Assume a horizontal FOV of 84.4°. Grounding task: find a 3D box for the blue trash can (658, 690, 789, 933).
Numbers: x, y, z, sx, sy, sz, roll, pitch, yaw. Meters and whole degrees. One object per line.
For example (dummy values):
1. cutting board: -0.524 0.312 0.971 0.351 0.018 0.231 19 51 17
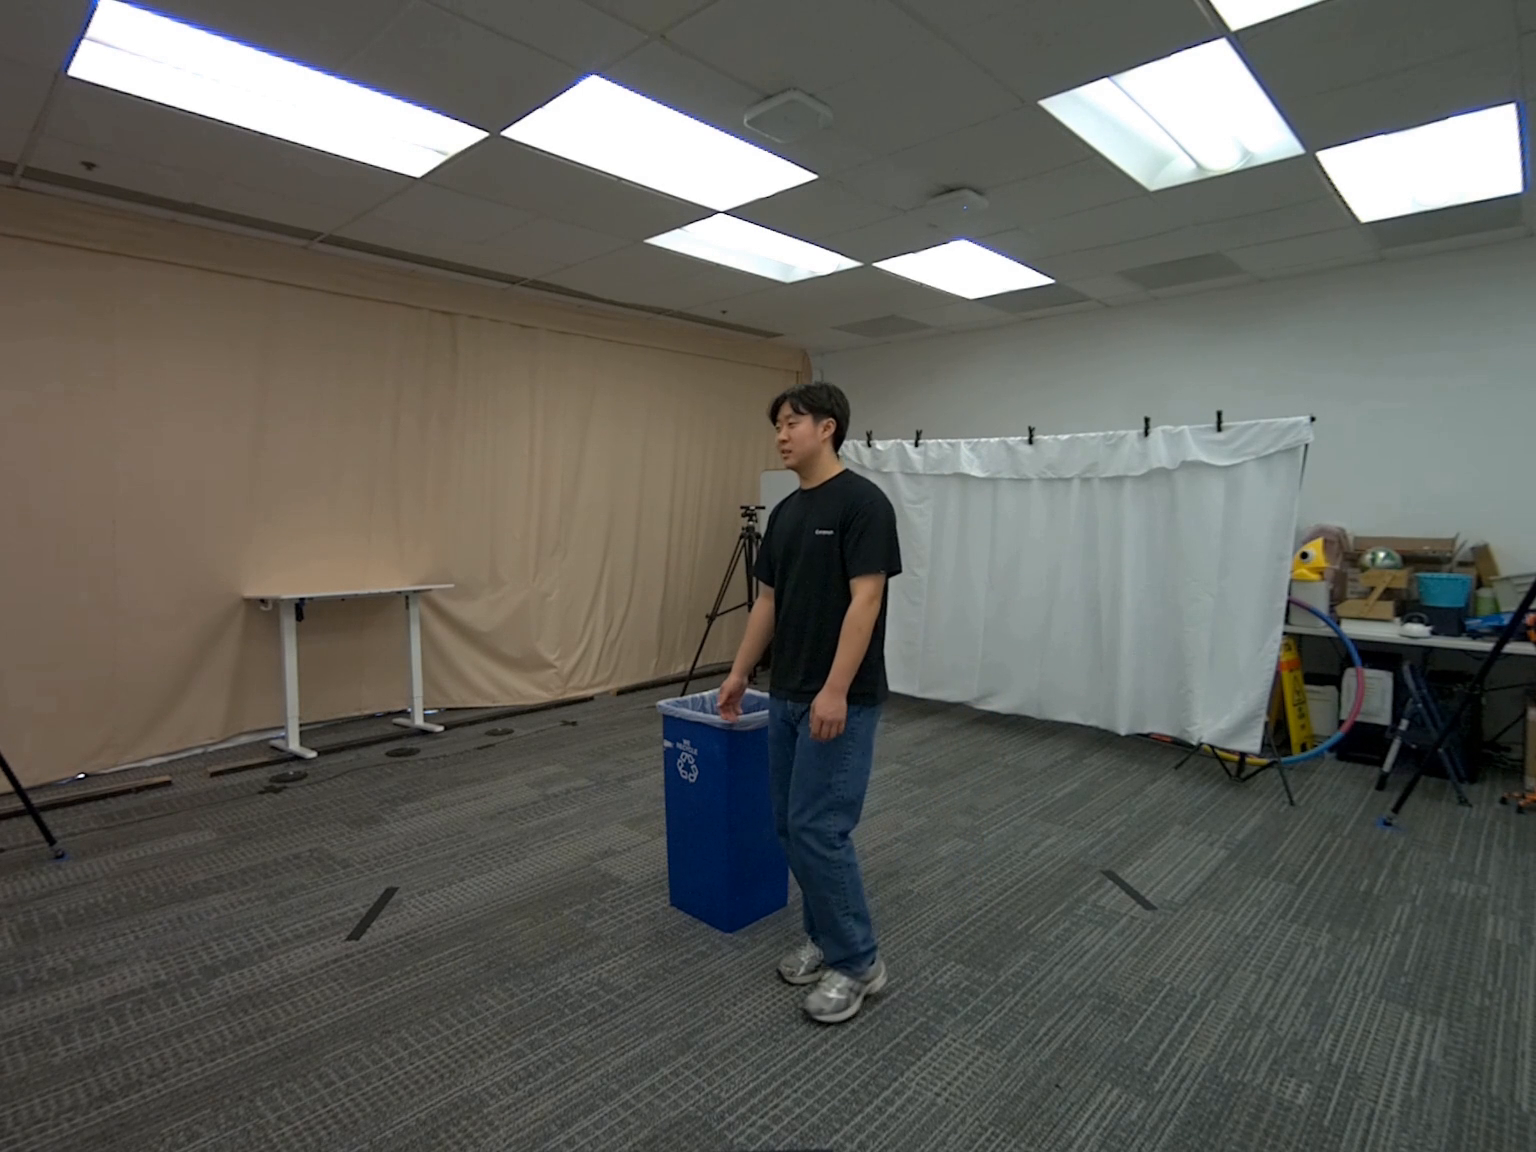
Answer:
1. blue trash can: -0.128 0.789 2.922 0.386 0.712 0.366 2 4 44
